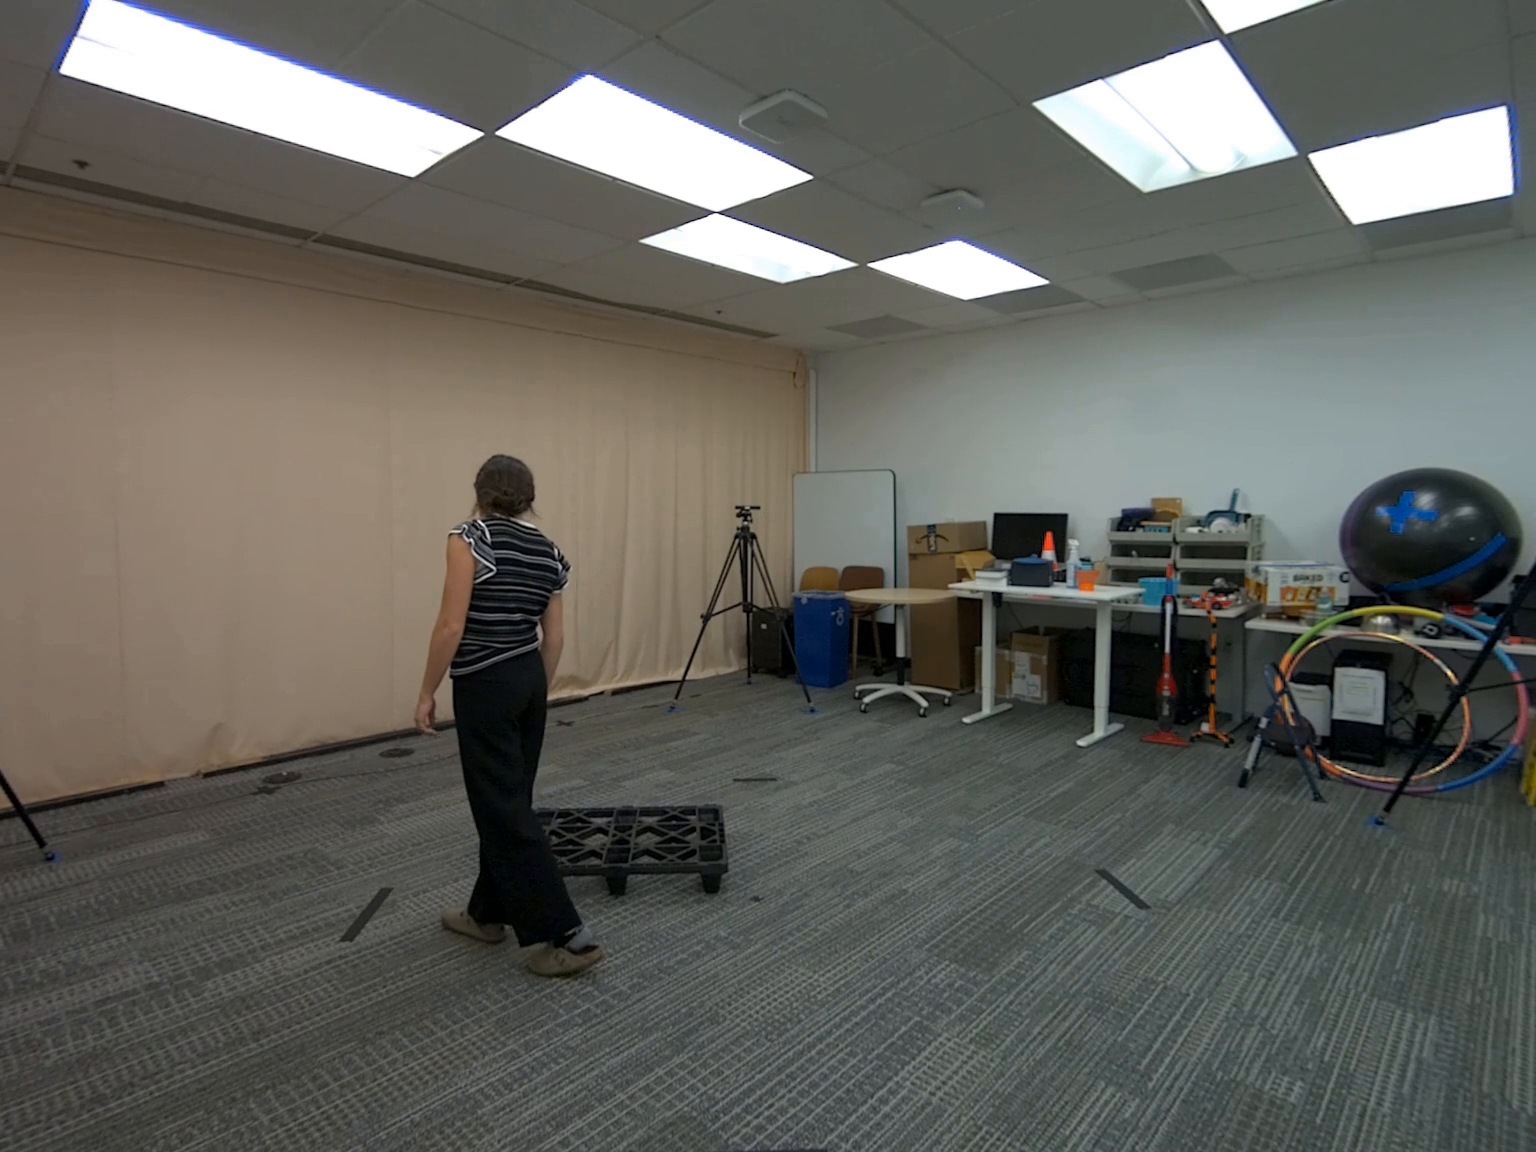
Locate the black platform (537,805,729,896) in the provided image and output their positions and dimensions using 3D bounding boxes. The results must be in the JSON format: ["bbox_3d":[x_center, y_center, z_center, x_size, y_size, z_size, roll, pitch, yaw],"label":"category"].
[{"bbox_3d":[-0.562,1.059,3.248,0.803,0.143,0.608,0,4,-3],"label":"black platform"}]
